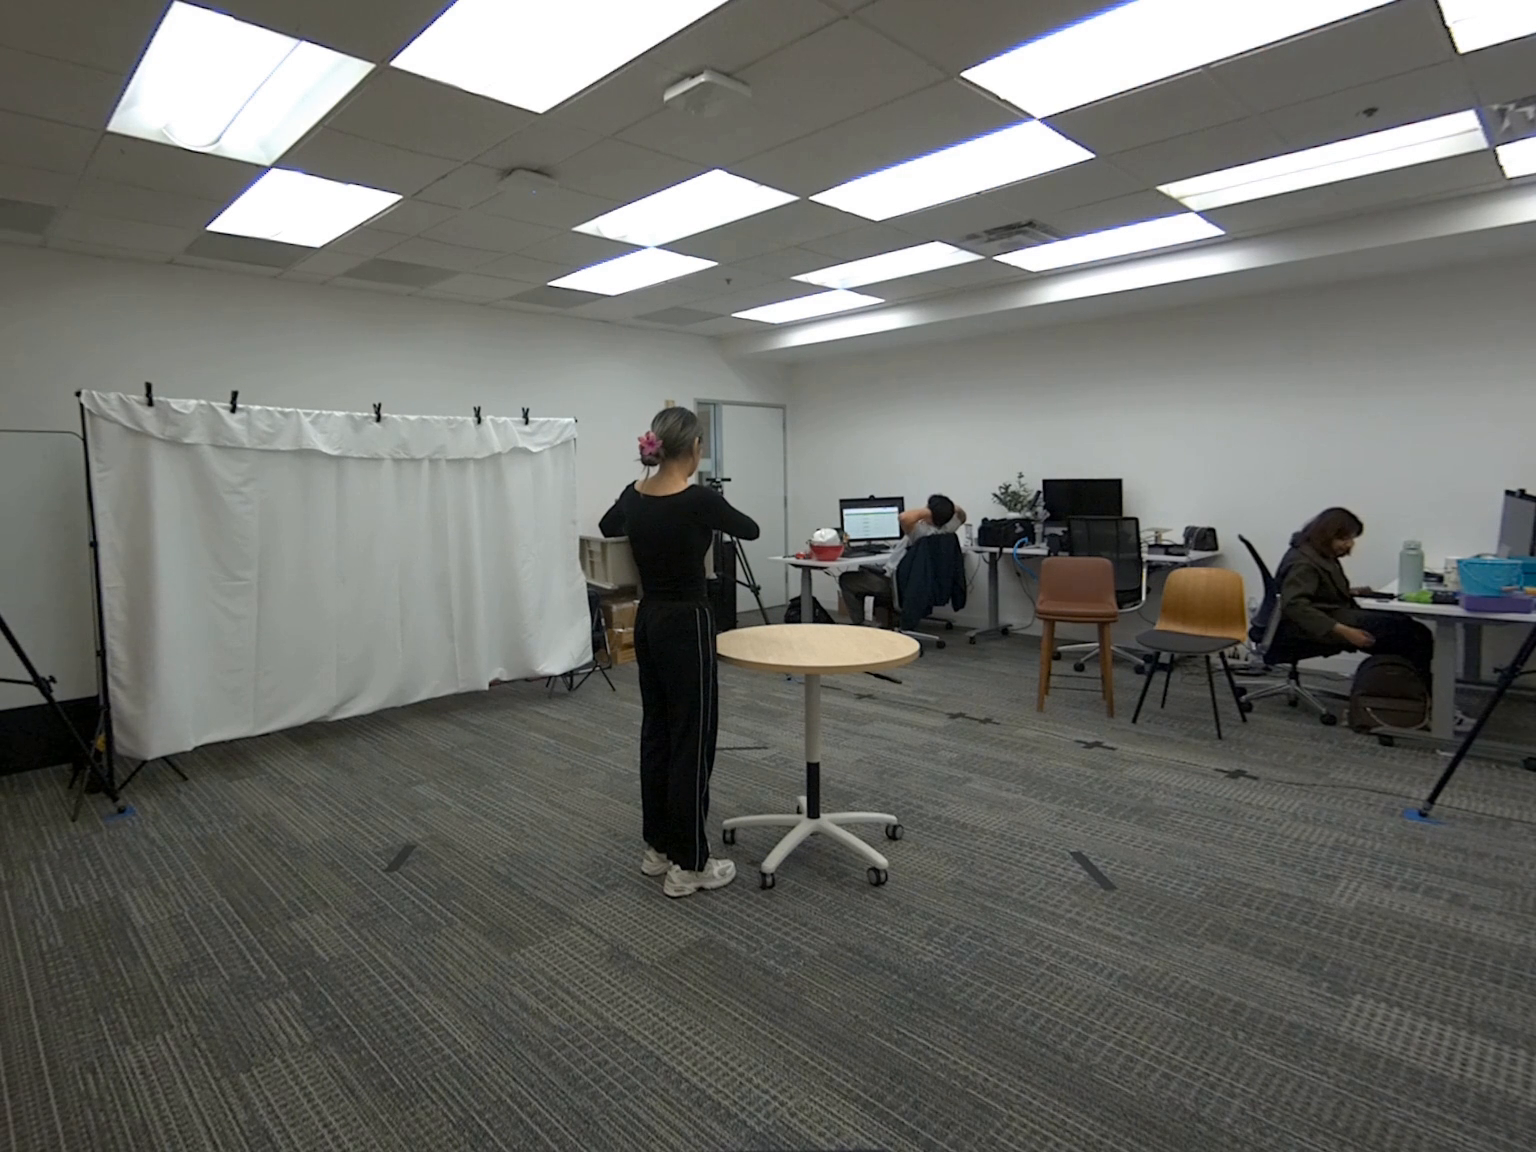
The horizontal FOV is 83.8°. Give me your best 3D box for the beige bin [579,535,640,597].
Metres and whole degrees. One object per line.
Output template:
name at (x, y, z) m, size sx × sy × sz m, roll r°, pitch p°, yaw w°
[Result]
beige bin at (-0.457, -0.076, 3.209) m, size 0.414 × 0.188 × 0.387 m, roll -6°, pitch 8°, yaw -26°
